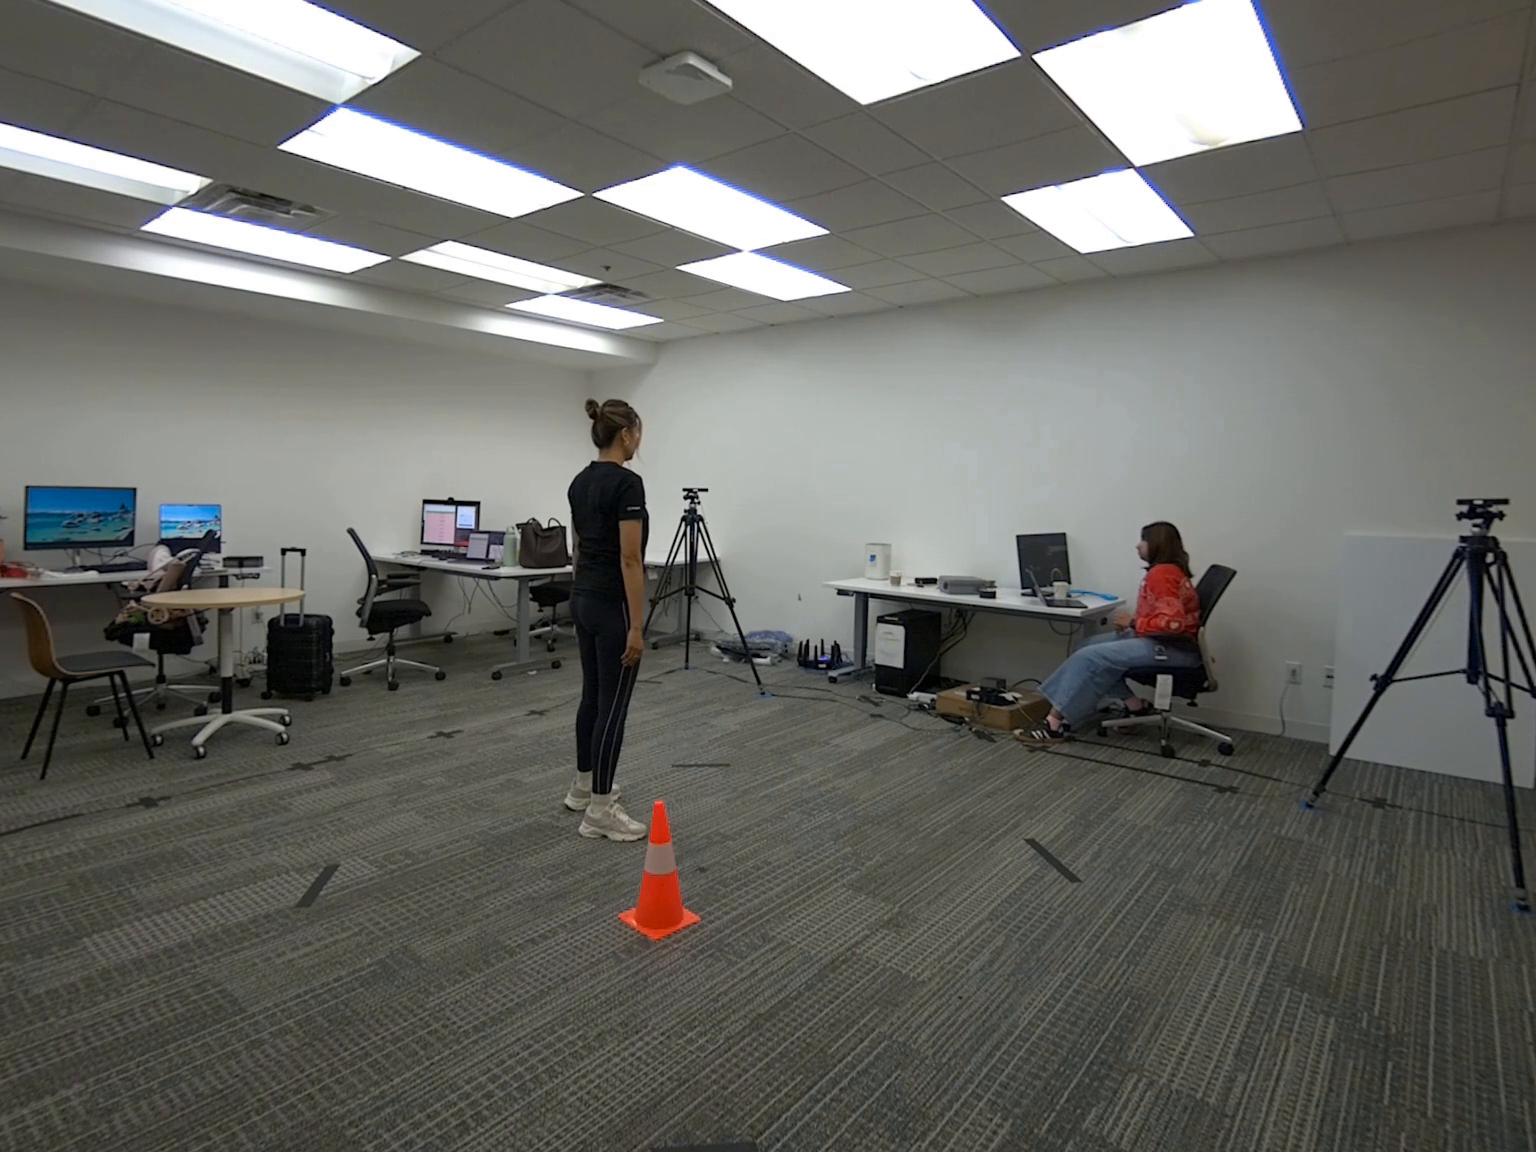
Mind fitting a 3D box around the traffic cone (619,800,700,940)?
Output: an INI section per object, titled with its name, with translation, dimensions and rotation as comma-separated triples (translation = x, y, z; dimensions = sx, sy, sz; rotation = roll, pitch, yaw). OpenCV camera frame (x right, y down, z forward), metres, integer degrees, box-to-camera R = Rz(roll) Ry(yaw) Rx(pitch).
[traffic cone]
translation = -0.356, 0.921, 2.740
dimensions = 0.197, 0.383, 0.211
rotation = -1, 3, -36
